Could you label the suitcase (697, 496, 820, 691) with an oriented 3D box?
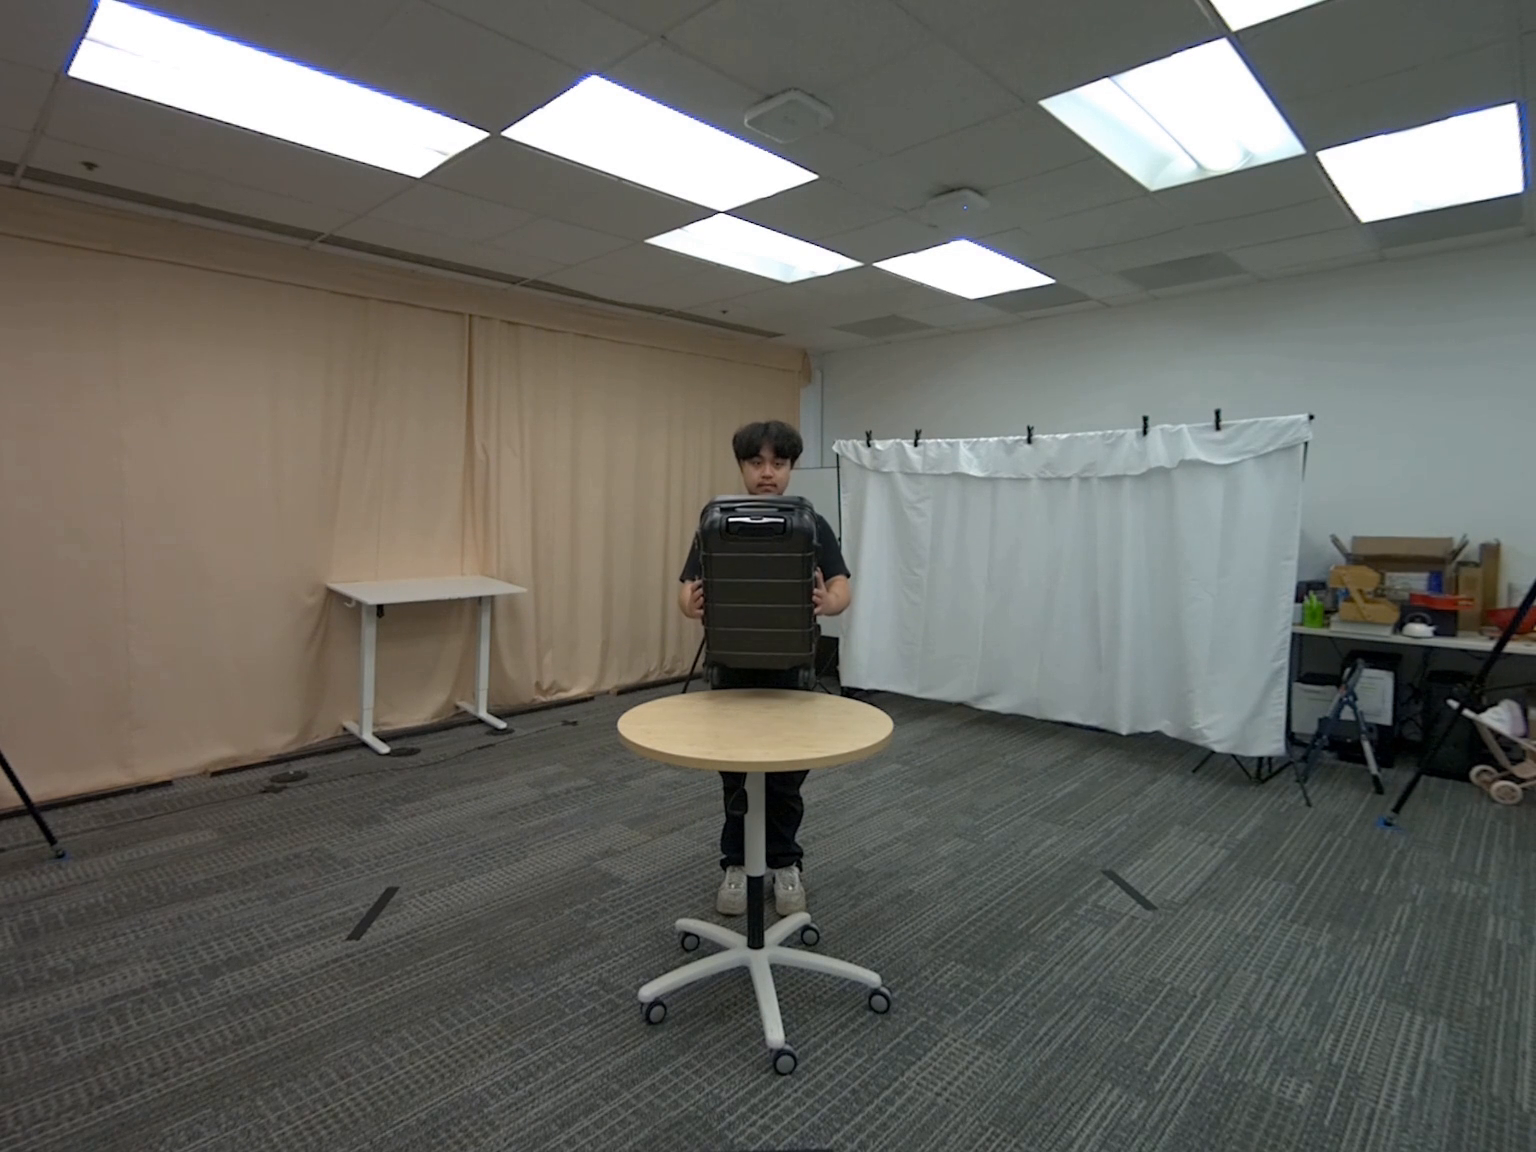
[{"bbox_3d":[-0.027,0.029,2.582,0.379,0.542,0.249,3,22,8],"label":"suitcase"}]
